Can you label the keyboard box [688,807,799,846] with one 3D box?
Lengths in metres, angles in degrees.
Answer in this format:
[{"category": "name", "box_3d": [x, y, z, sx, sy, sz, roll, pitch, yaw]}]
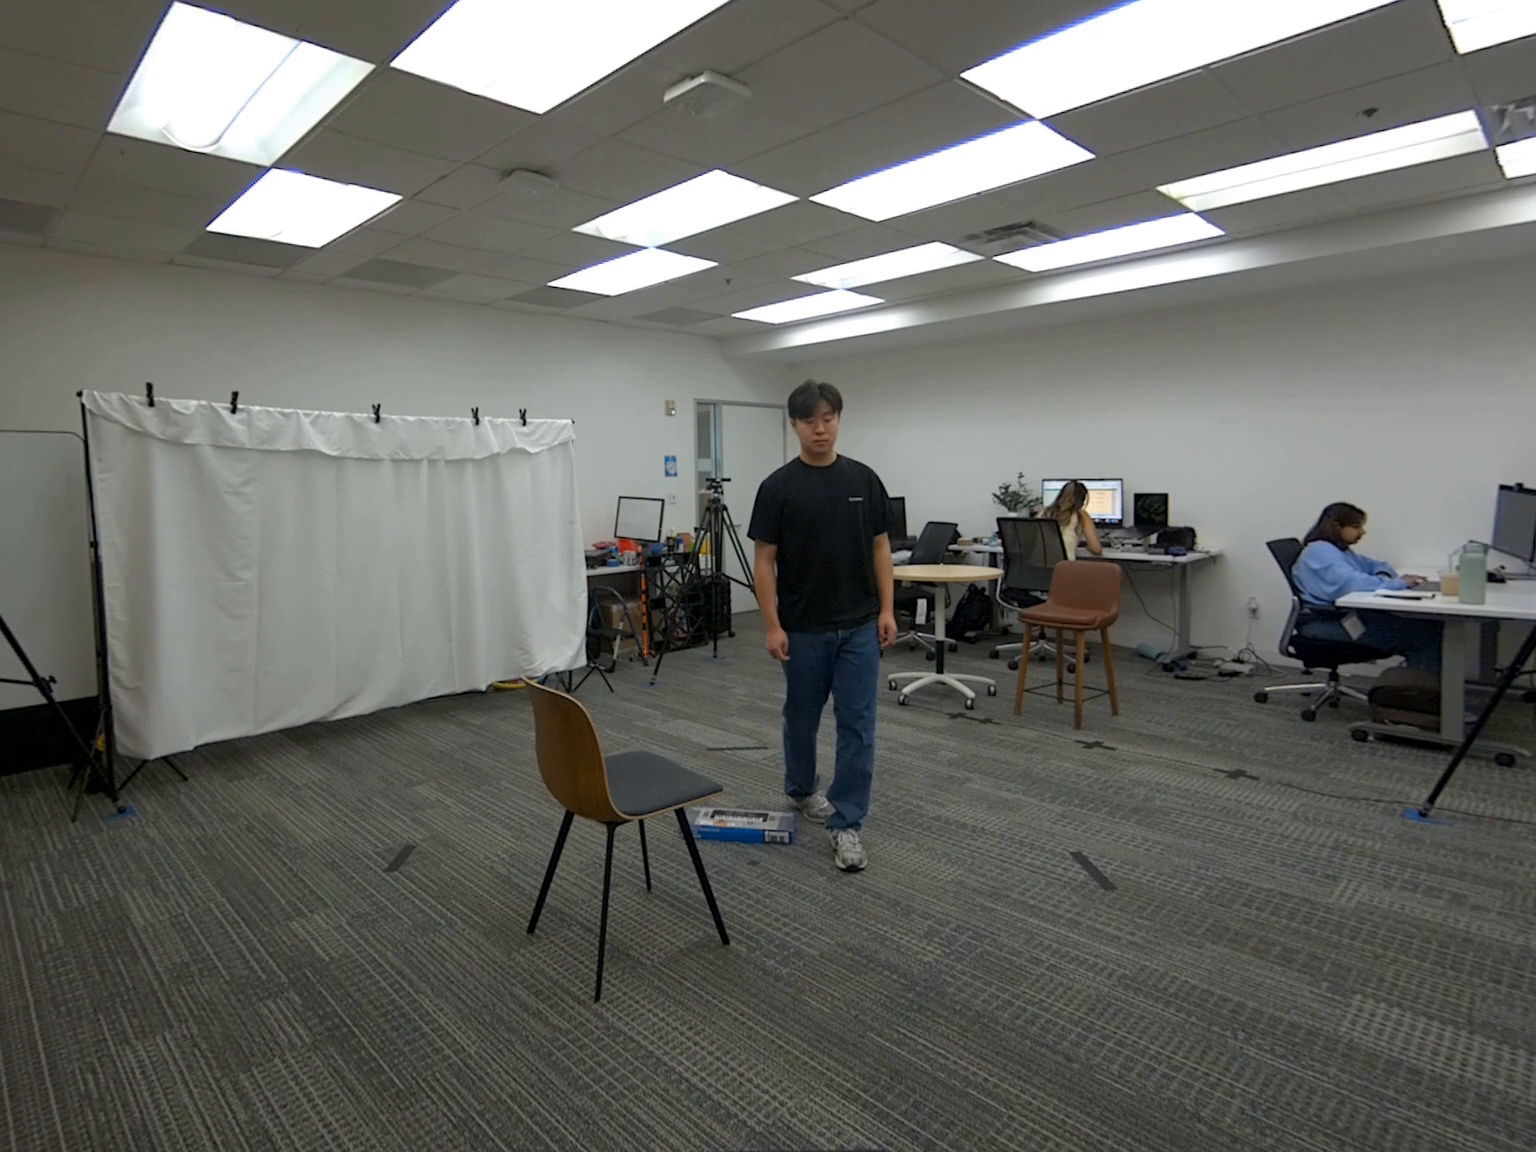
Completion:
[{"category": "keyboard box", "box_3d": [-0.112, 0.985, 3.370, 0.441, 0.059, 0.175, 0, 7, 11]}]
